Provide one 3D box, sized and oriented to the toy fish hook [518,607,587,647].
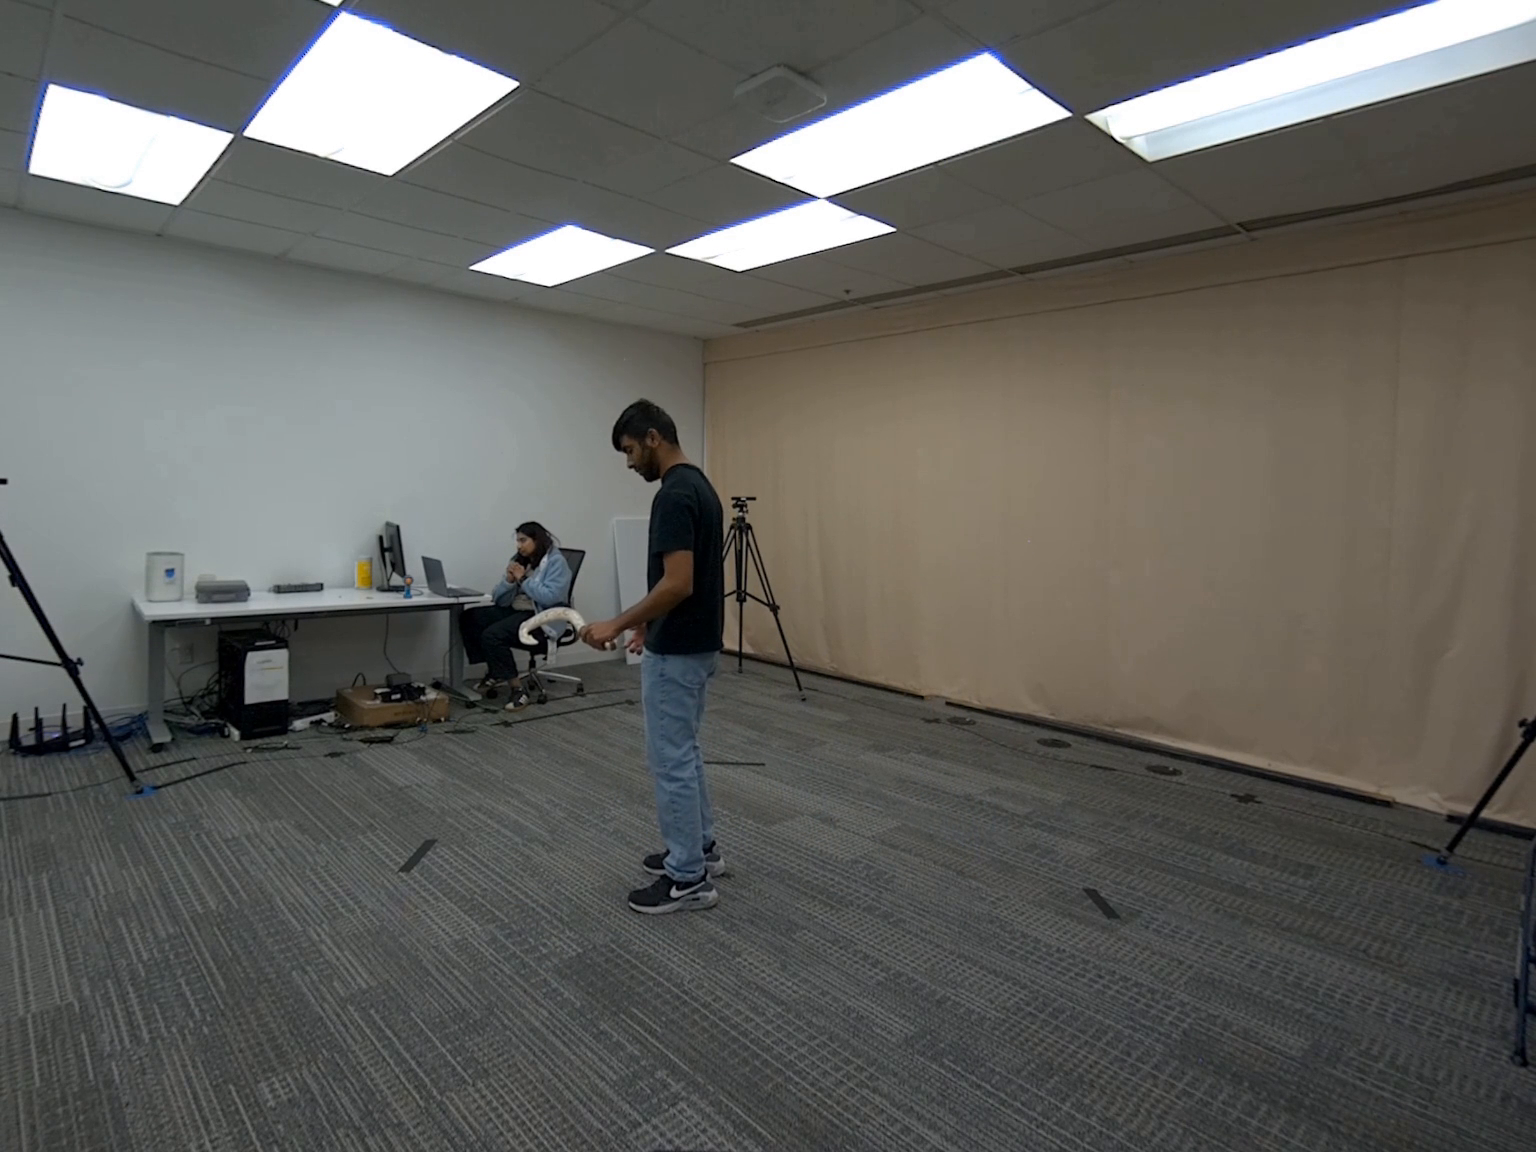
[{"bbox_3d":[-0.682,0.206,2.836,0.223,0.047,0.521,-33,28,-28],"label":"toy fish hook"}]
